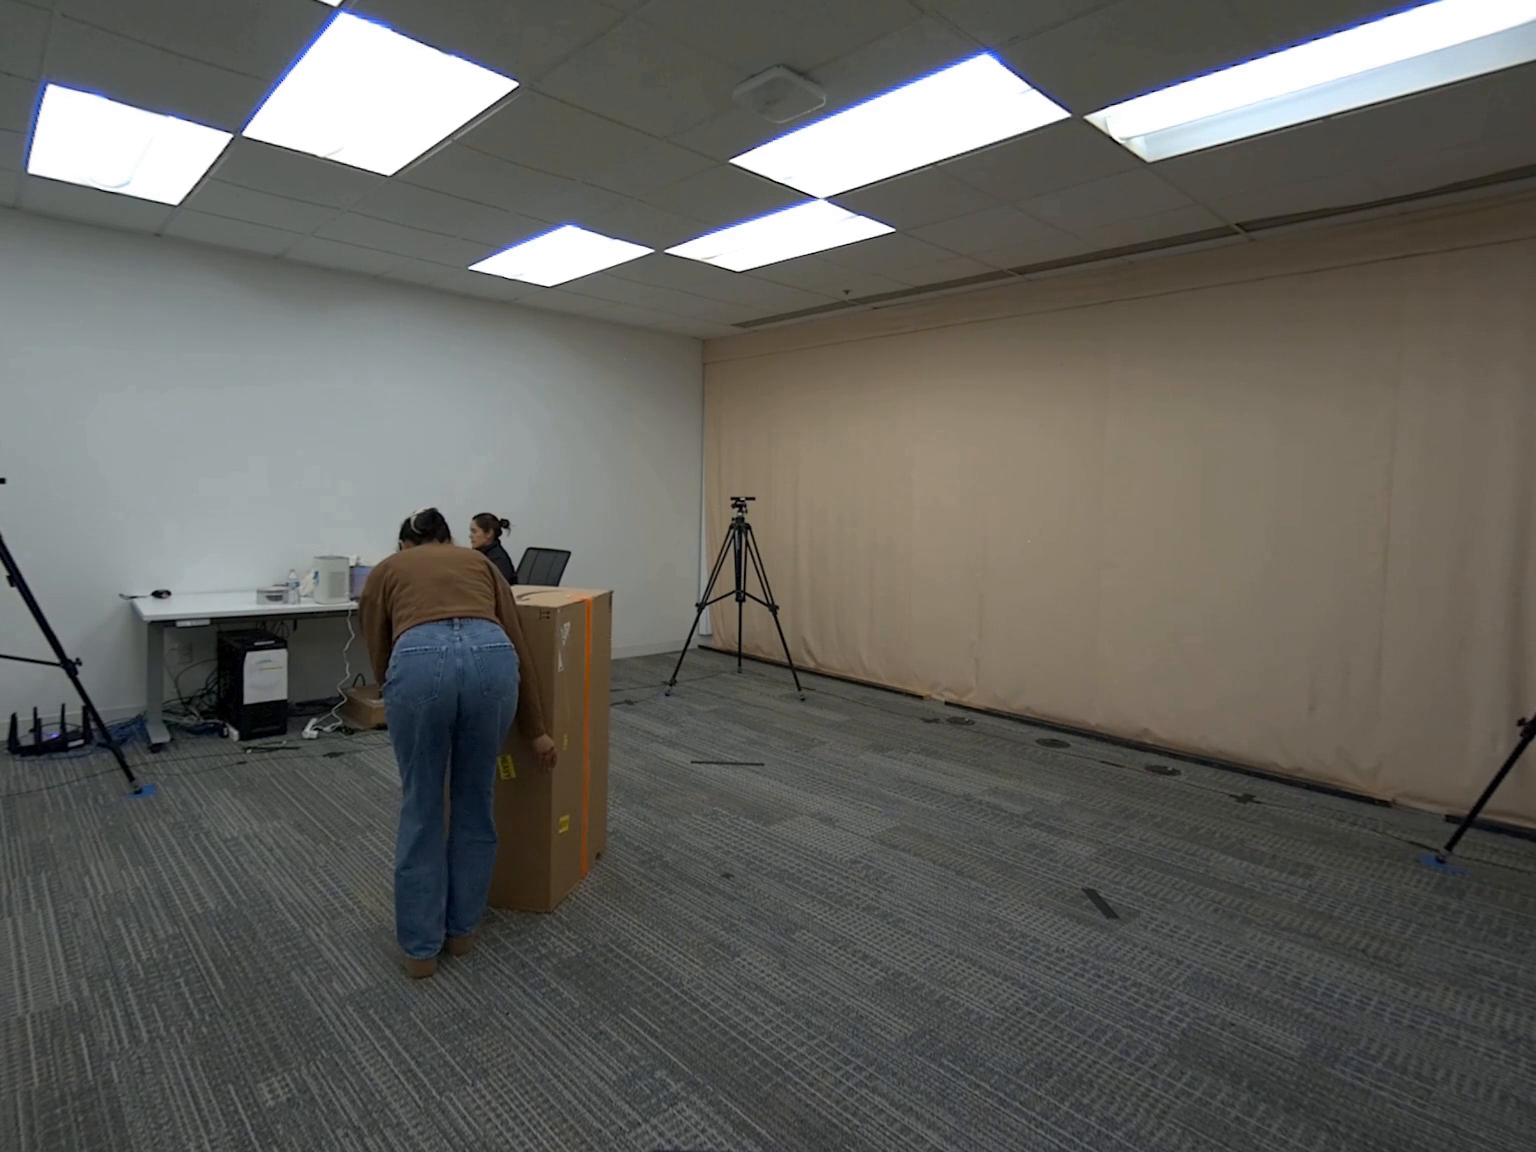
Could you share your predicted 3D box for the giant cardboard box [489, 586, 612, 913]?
[{"bbox_3d":[-0.872,0.586,3.083,0.430,1.024,0.574,2,3,9],"label":"giant cardboard box"}]
